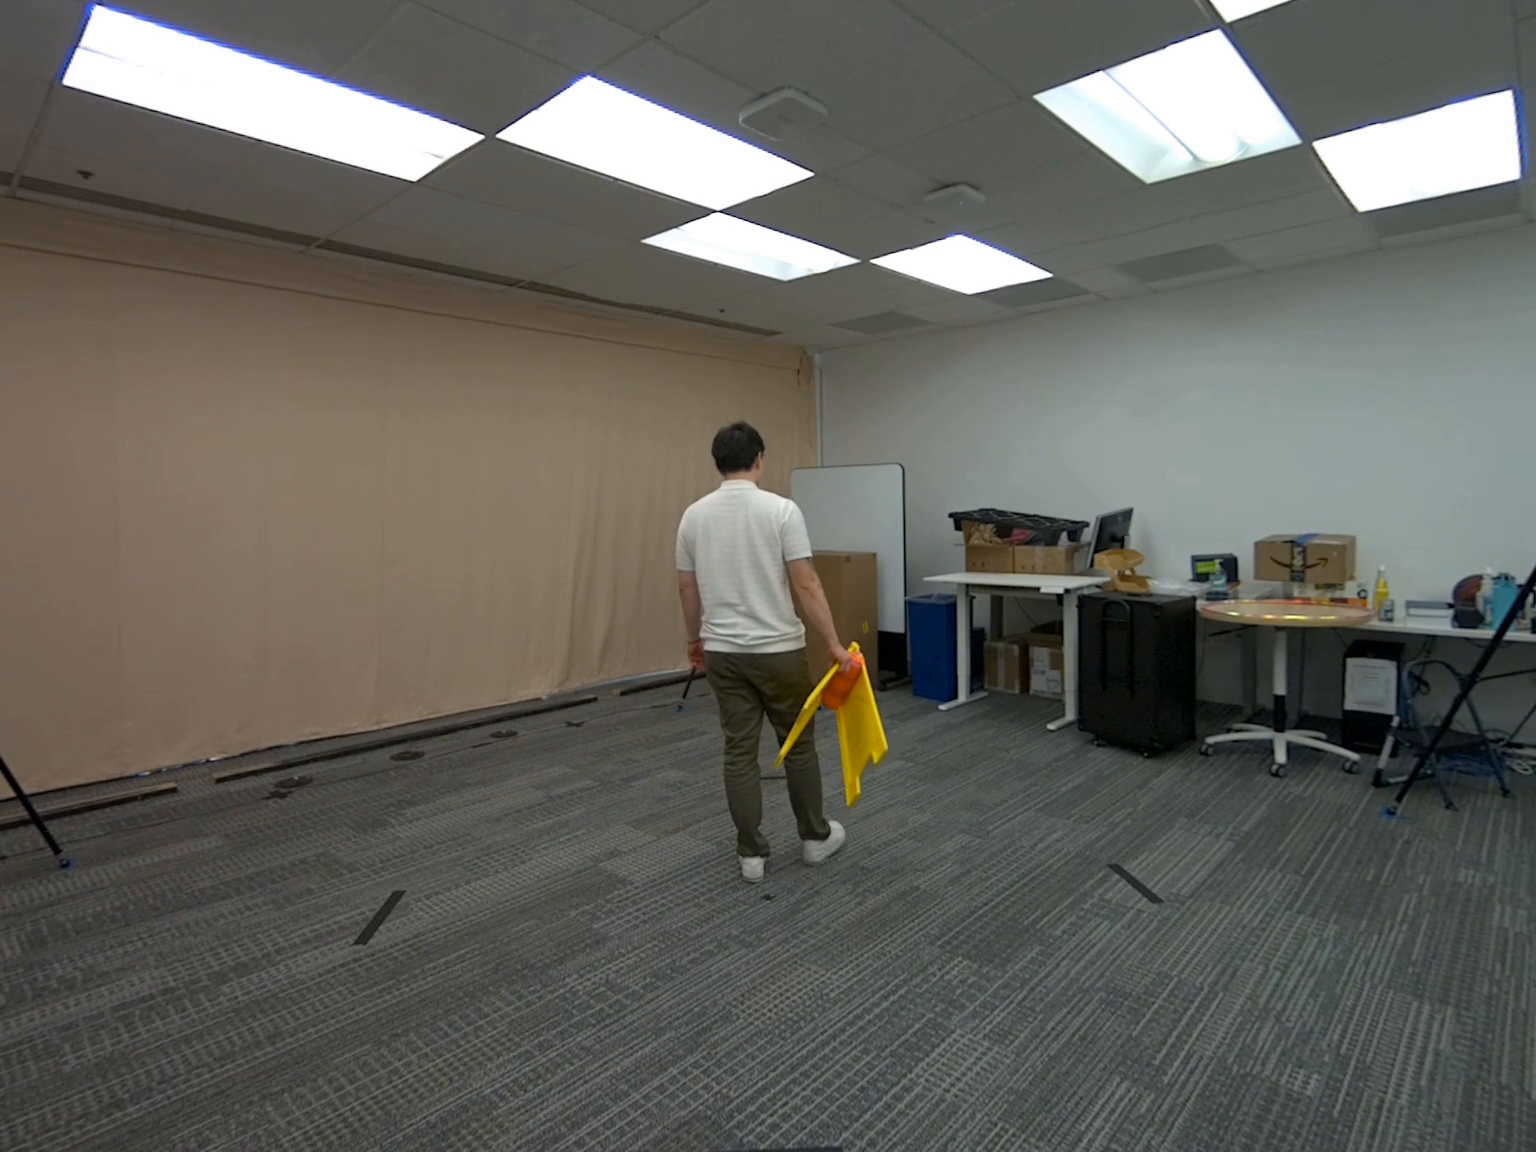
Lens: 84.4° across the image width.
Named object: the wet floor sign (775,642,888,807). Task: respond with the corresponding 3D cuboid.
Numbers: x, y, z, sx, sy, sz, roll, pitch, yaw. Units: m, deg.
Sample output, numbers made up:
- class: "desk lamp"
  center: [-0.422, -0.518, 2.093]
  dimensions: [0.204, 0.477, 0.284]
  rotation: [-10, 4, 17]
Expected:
- class: "wet floor sign"
  center: [0.256, 0.468, 3.045]
  dimensions: [0.290, 0.281, 0.647]
  rotation: [25, 26, 0]
